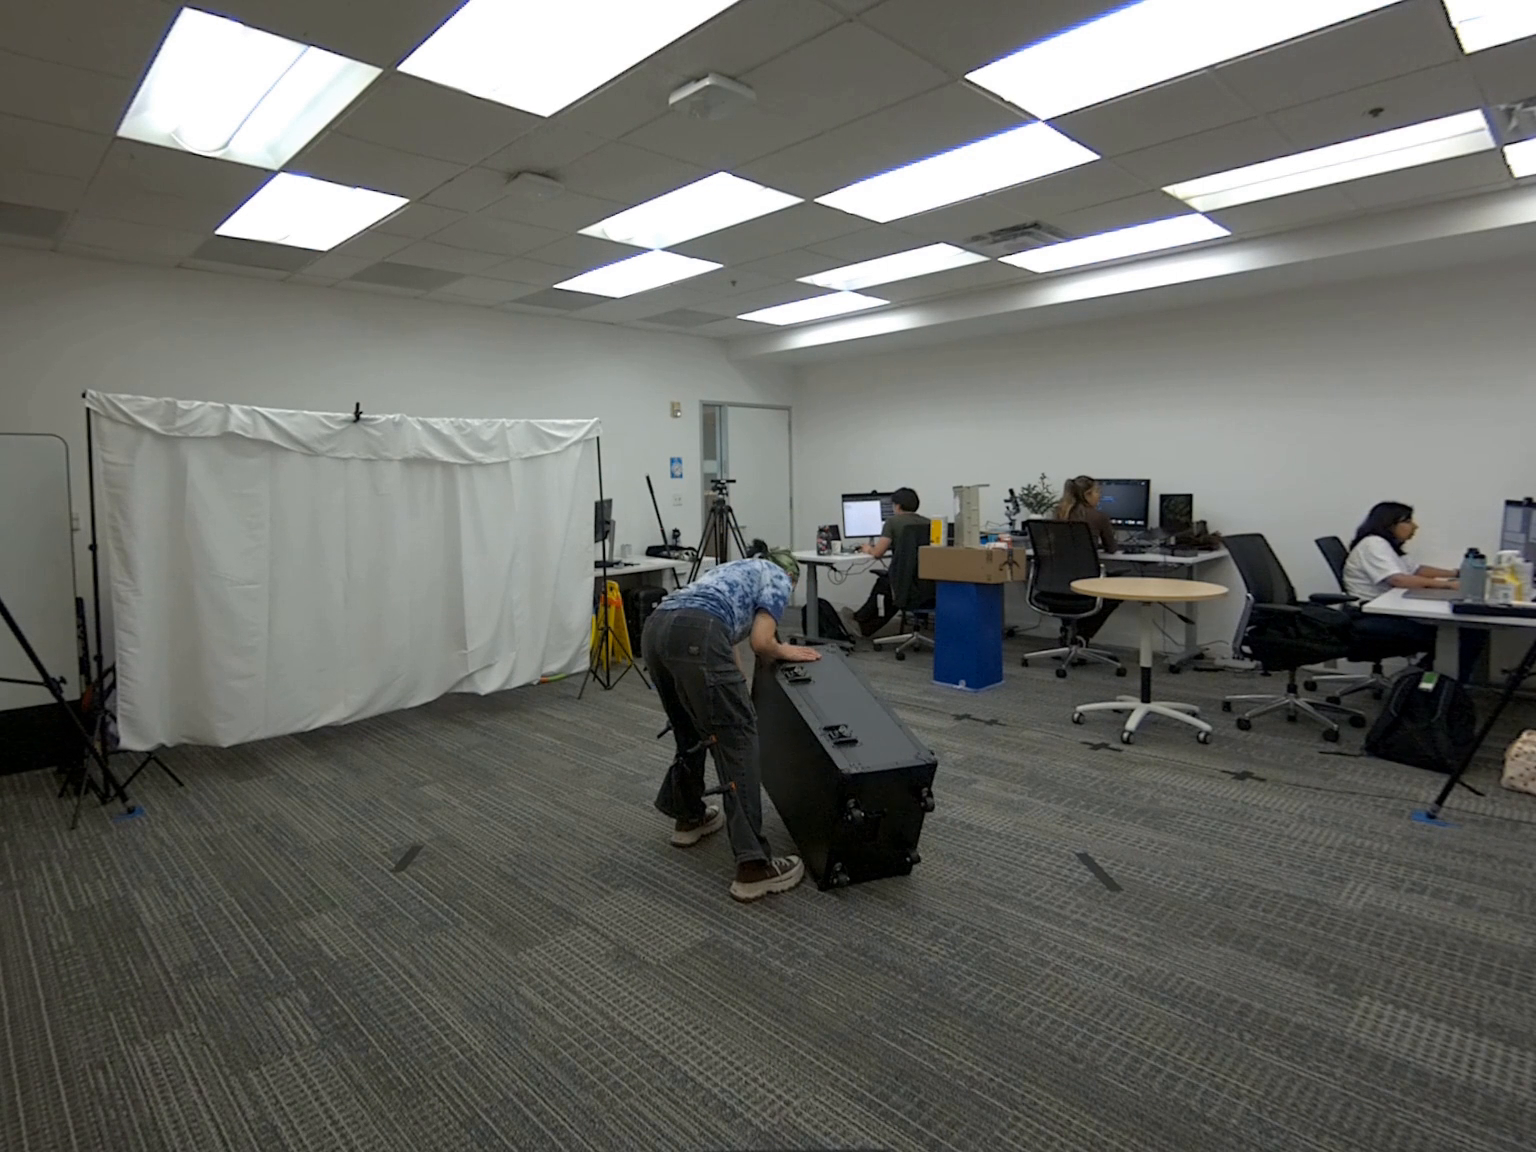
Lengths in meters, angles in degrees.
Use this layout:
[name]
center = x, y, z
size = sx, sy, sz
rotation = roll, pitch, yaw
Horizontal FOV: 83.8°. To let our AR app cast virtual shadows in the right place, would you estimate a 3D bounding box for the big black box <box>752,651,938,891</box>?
[big black box]
center = 0.253, 0.689, 3.168
size = 0.389, 0.512, 0.892
rotation = -3, 26, -21
